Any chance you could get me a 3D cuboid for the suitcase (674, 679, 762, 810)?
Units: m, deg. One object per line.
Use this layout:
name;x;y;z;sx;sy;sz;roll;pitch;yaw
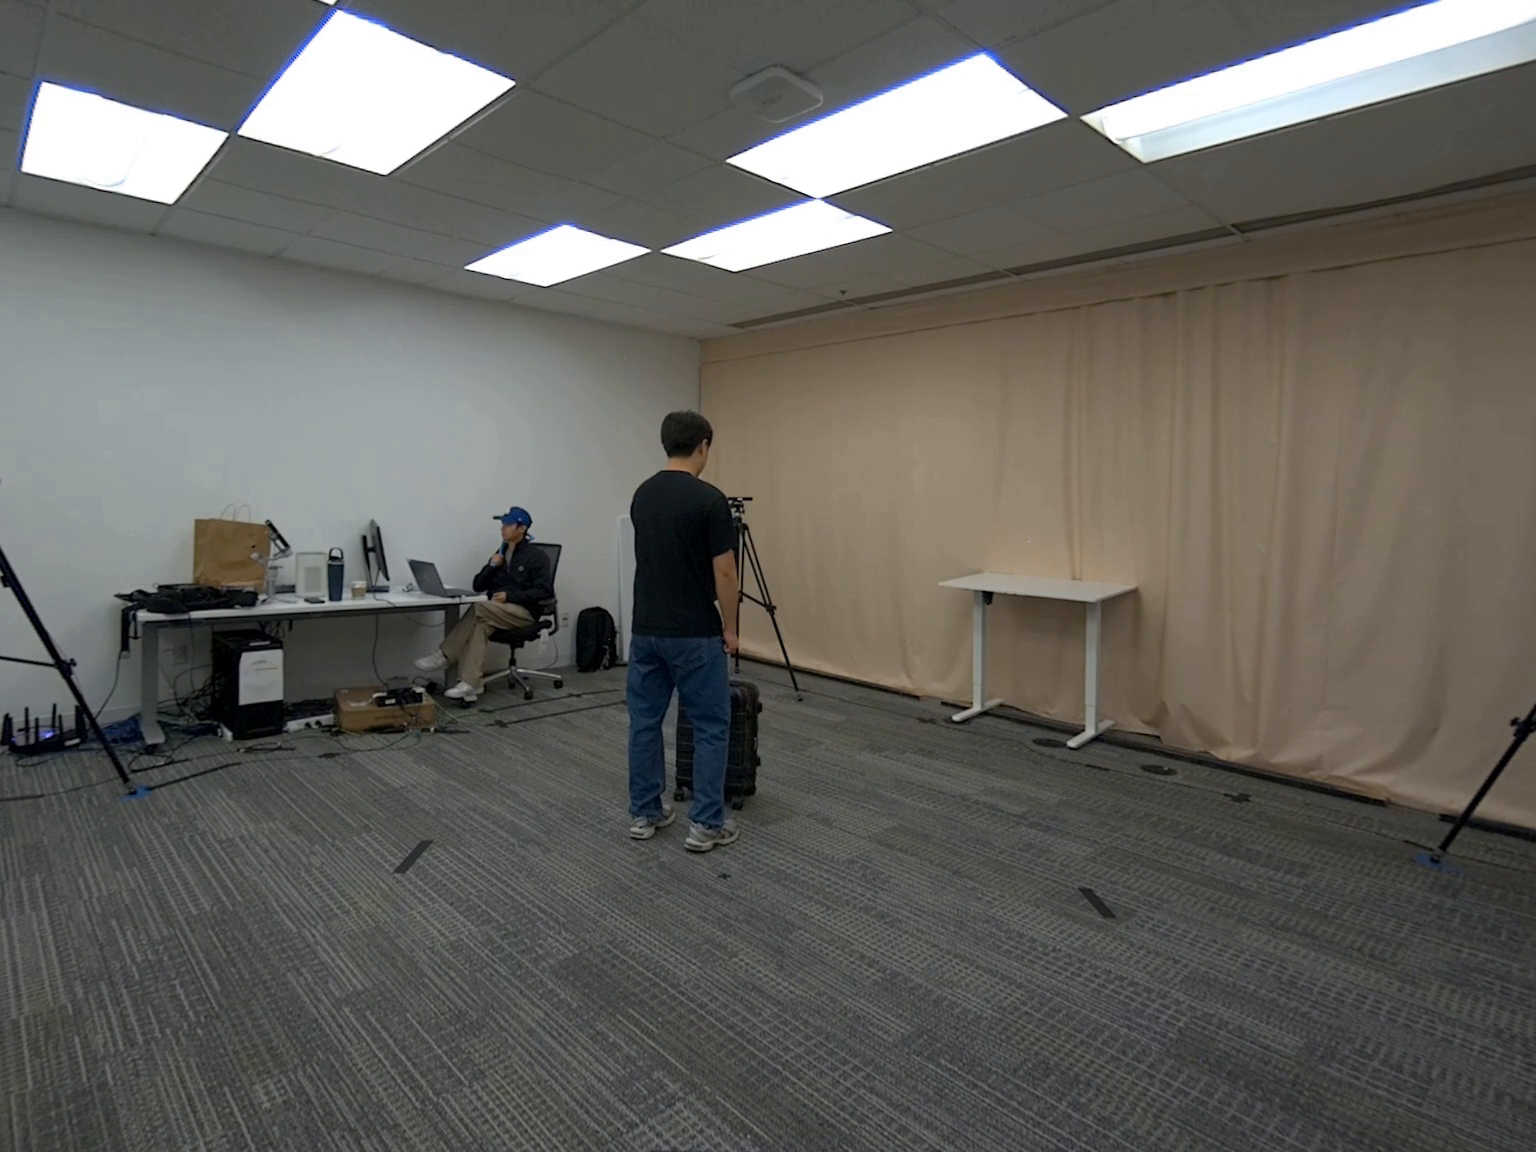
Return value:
suitcase;-0.233;0.561;3.964;0.390;0.981;0.252;2;-3;20
